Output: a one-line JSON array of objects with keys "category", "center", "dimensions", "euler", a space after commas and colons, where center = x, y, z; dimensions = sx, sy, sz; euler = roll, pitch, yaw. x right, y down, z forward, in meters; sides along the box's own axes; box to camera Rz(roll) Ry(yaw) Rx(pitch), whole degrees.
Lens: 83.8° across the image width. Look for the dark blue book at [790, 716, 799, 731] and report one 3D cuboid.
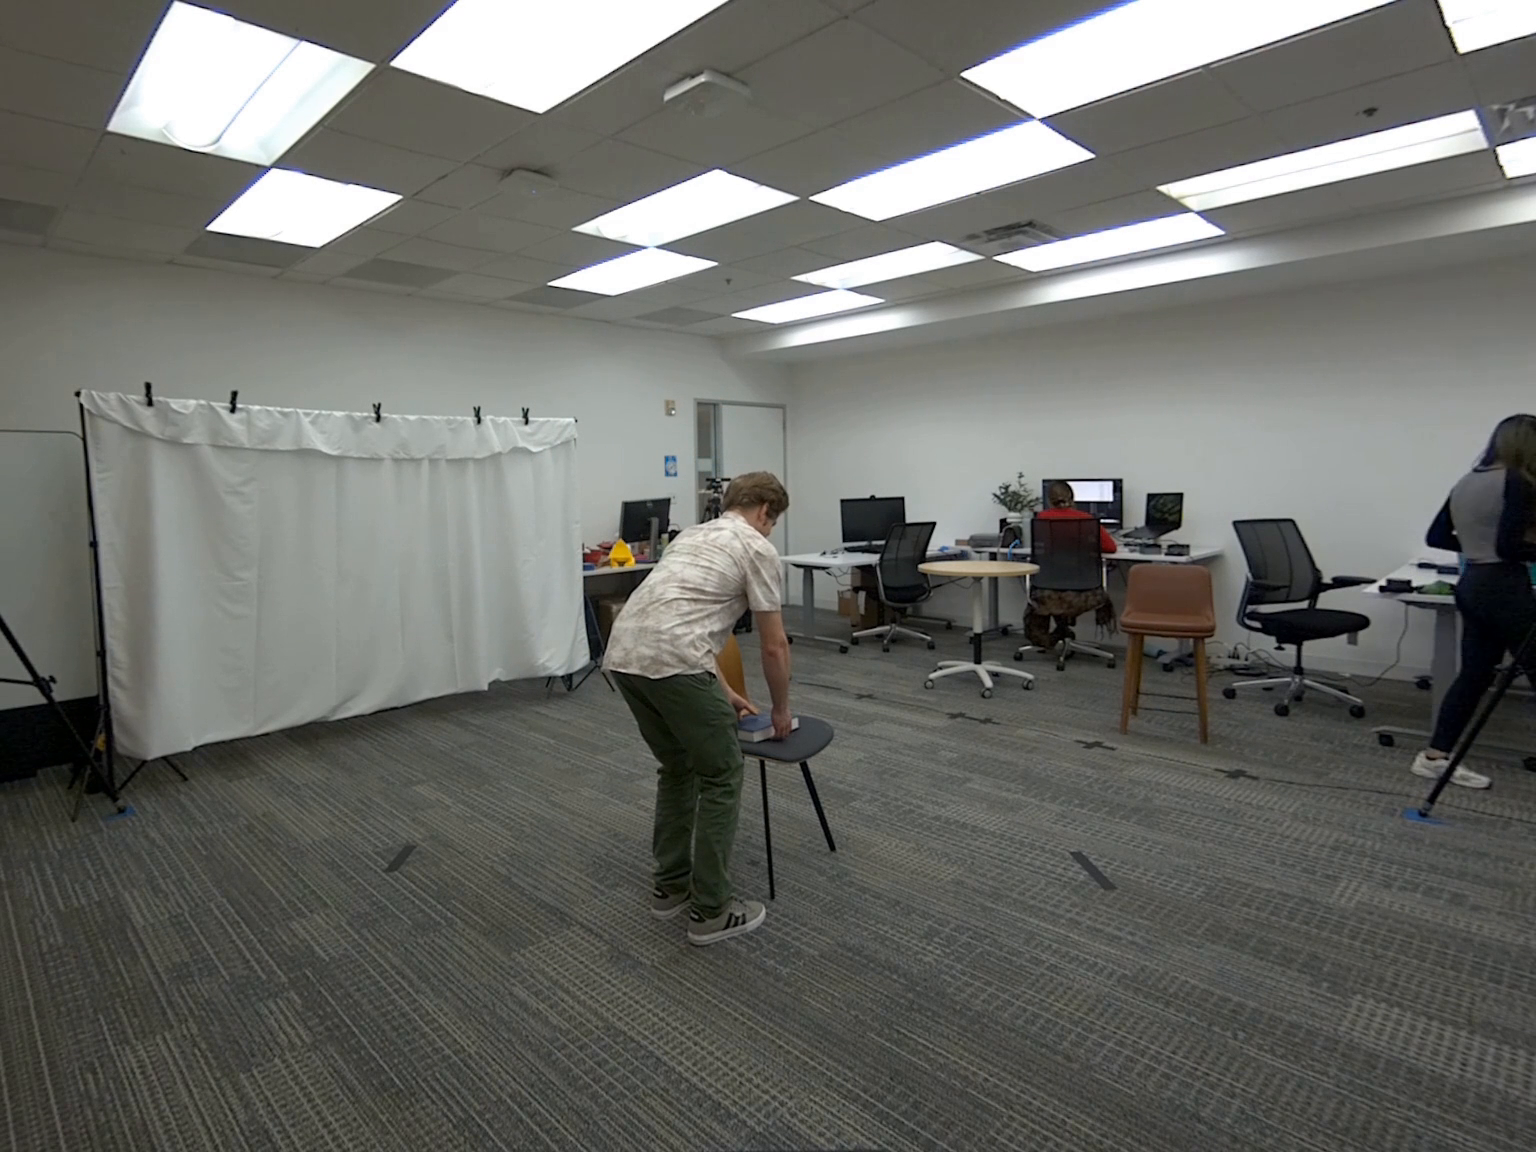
[{"category": "dark blue book", "center": [-0.018, 0.532, 3.078], "dimensions": [0.168, 0.045, 0.239], "euler": [1, 7, 43]}]
